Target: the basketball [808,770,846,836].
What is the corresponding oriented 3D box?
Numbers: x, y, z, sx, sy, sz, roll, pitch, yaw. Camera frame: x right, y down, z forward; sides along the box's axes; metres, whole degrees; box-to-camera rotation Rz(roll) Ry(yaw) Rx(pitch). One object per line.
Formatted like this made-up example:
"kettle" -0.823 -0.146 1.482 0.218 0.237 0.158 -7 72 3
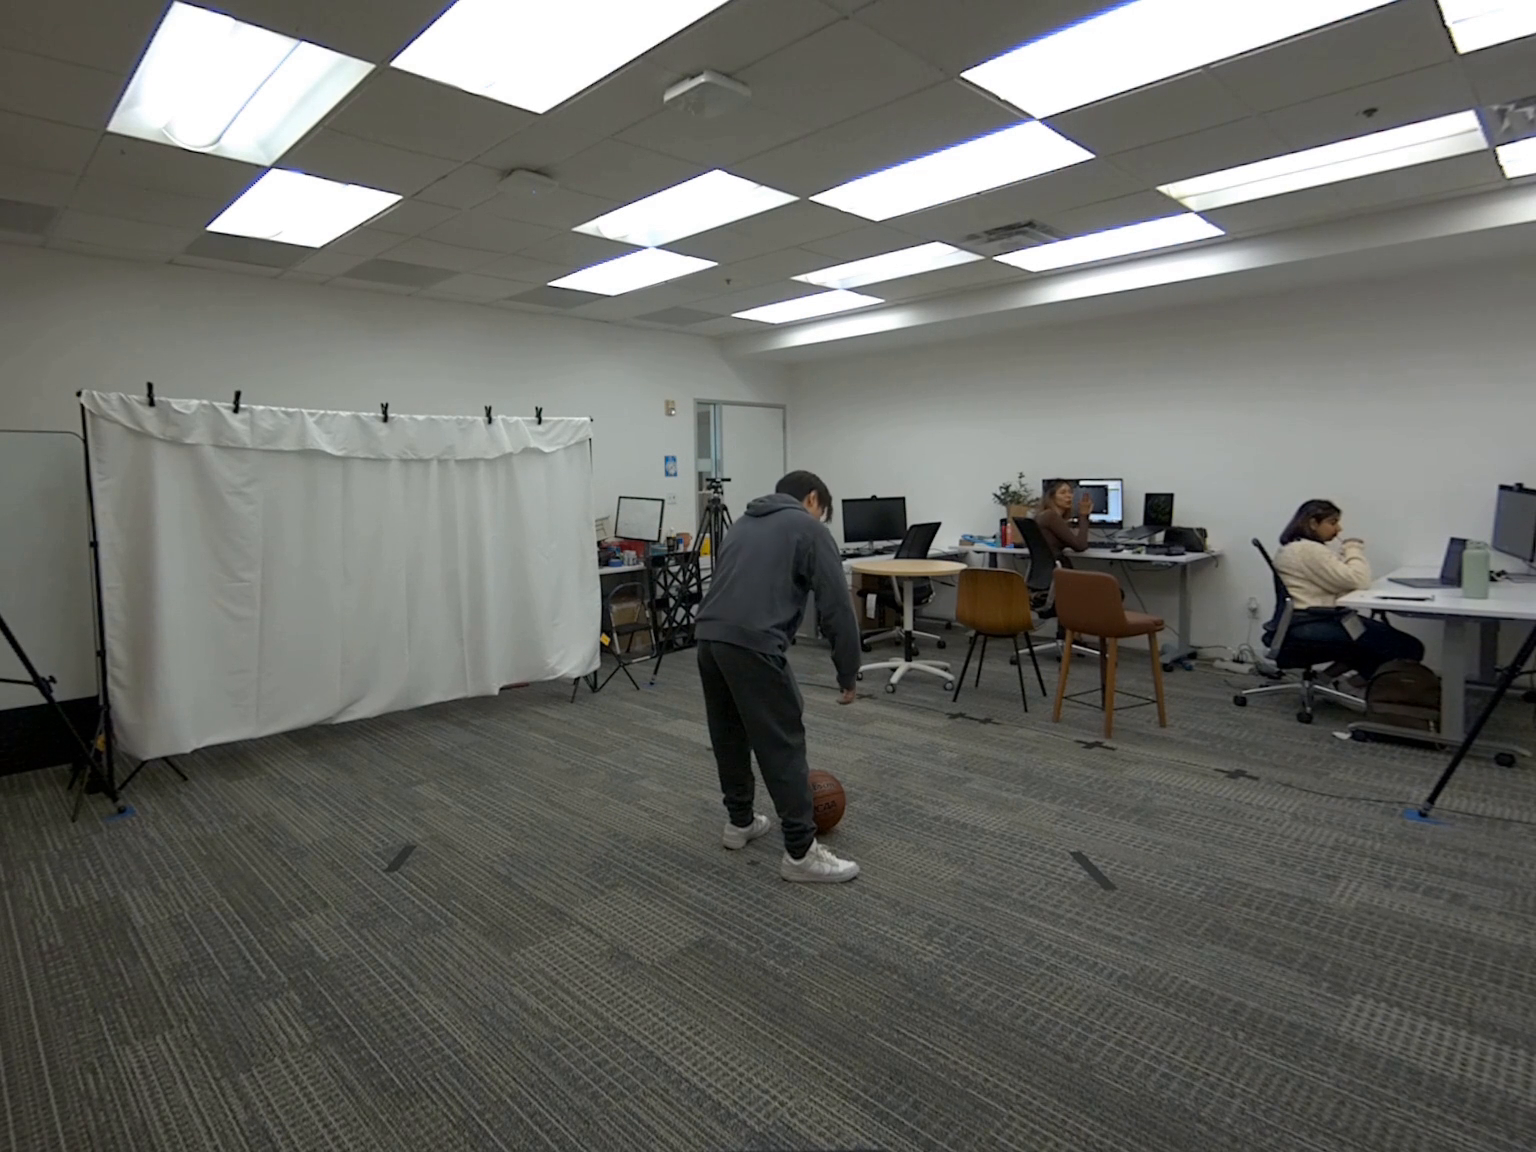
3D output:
"basketball" 0.186 0.887 3.383 0.236 0.235 0.237 -1 5 -2
